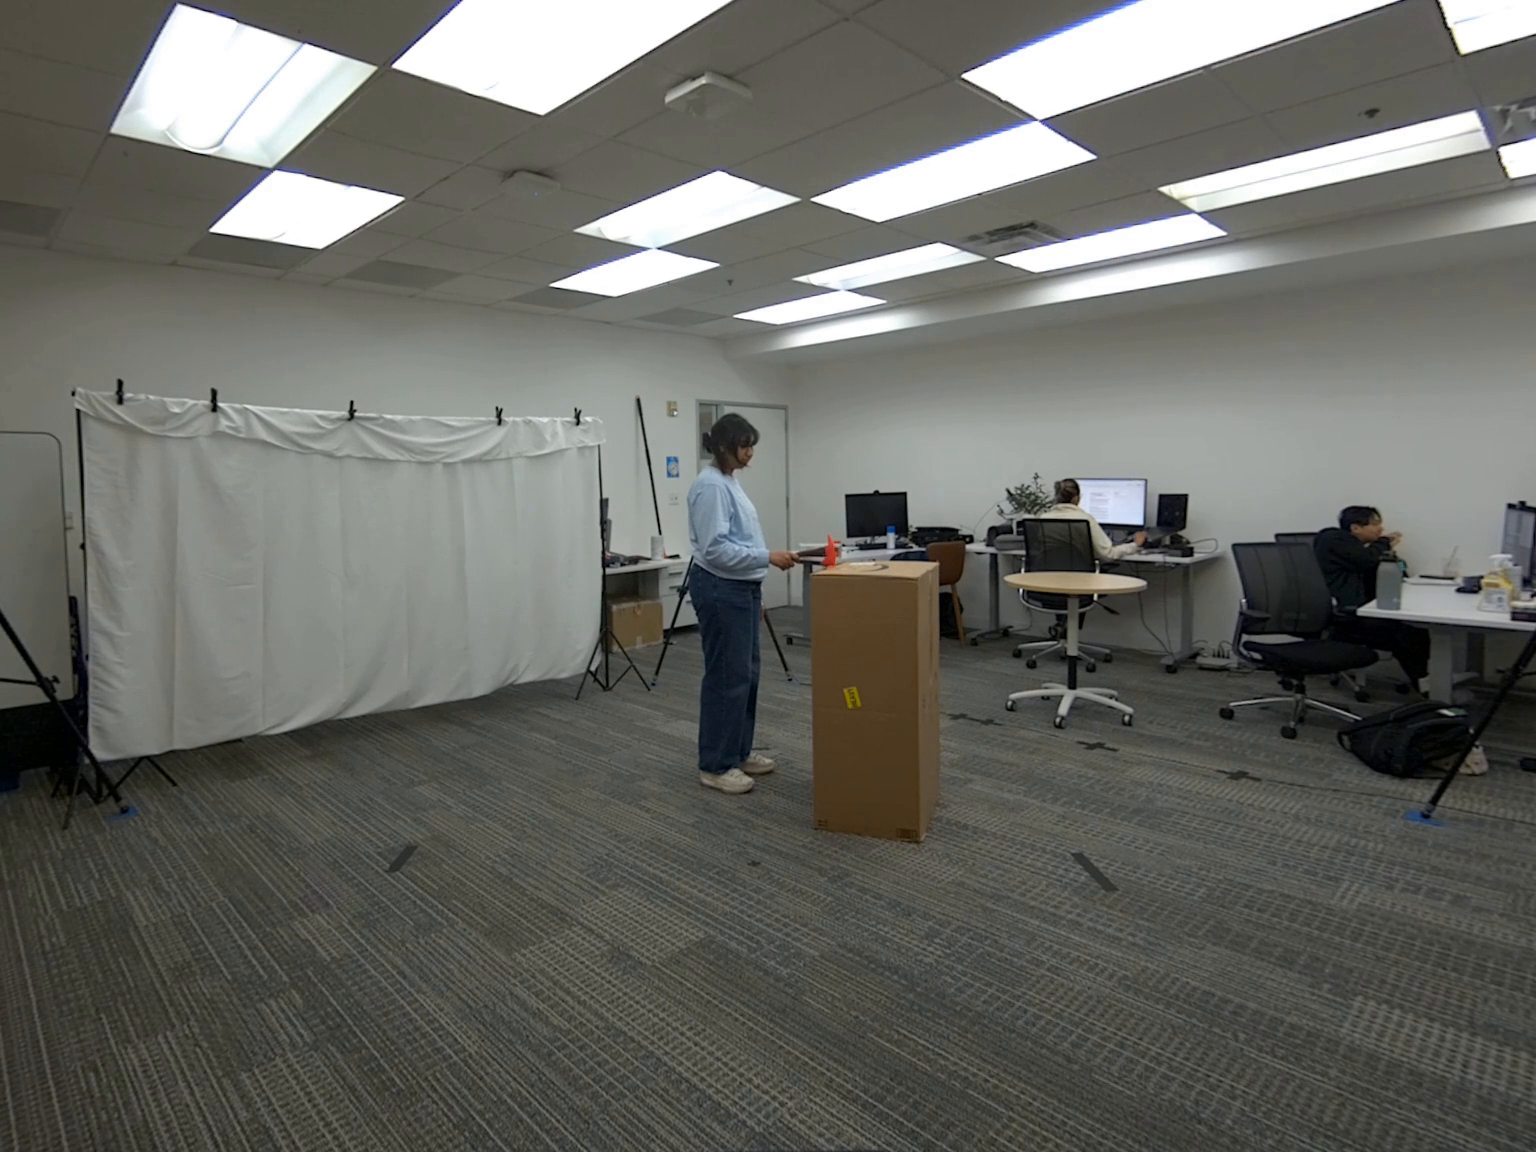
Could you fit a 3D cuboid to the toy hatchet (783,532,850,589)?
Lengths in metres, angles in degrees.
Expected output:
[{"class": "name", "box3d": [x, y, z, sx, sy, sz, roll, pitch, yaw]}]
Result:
[{"class": "toy hatchet", "box3d": [0.198, -0.068, 3.706, 0.271, 0.131, 0.029, -28, -1, 9]}]
